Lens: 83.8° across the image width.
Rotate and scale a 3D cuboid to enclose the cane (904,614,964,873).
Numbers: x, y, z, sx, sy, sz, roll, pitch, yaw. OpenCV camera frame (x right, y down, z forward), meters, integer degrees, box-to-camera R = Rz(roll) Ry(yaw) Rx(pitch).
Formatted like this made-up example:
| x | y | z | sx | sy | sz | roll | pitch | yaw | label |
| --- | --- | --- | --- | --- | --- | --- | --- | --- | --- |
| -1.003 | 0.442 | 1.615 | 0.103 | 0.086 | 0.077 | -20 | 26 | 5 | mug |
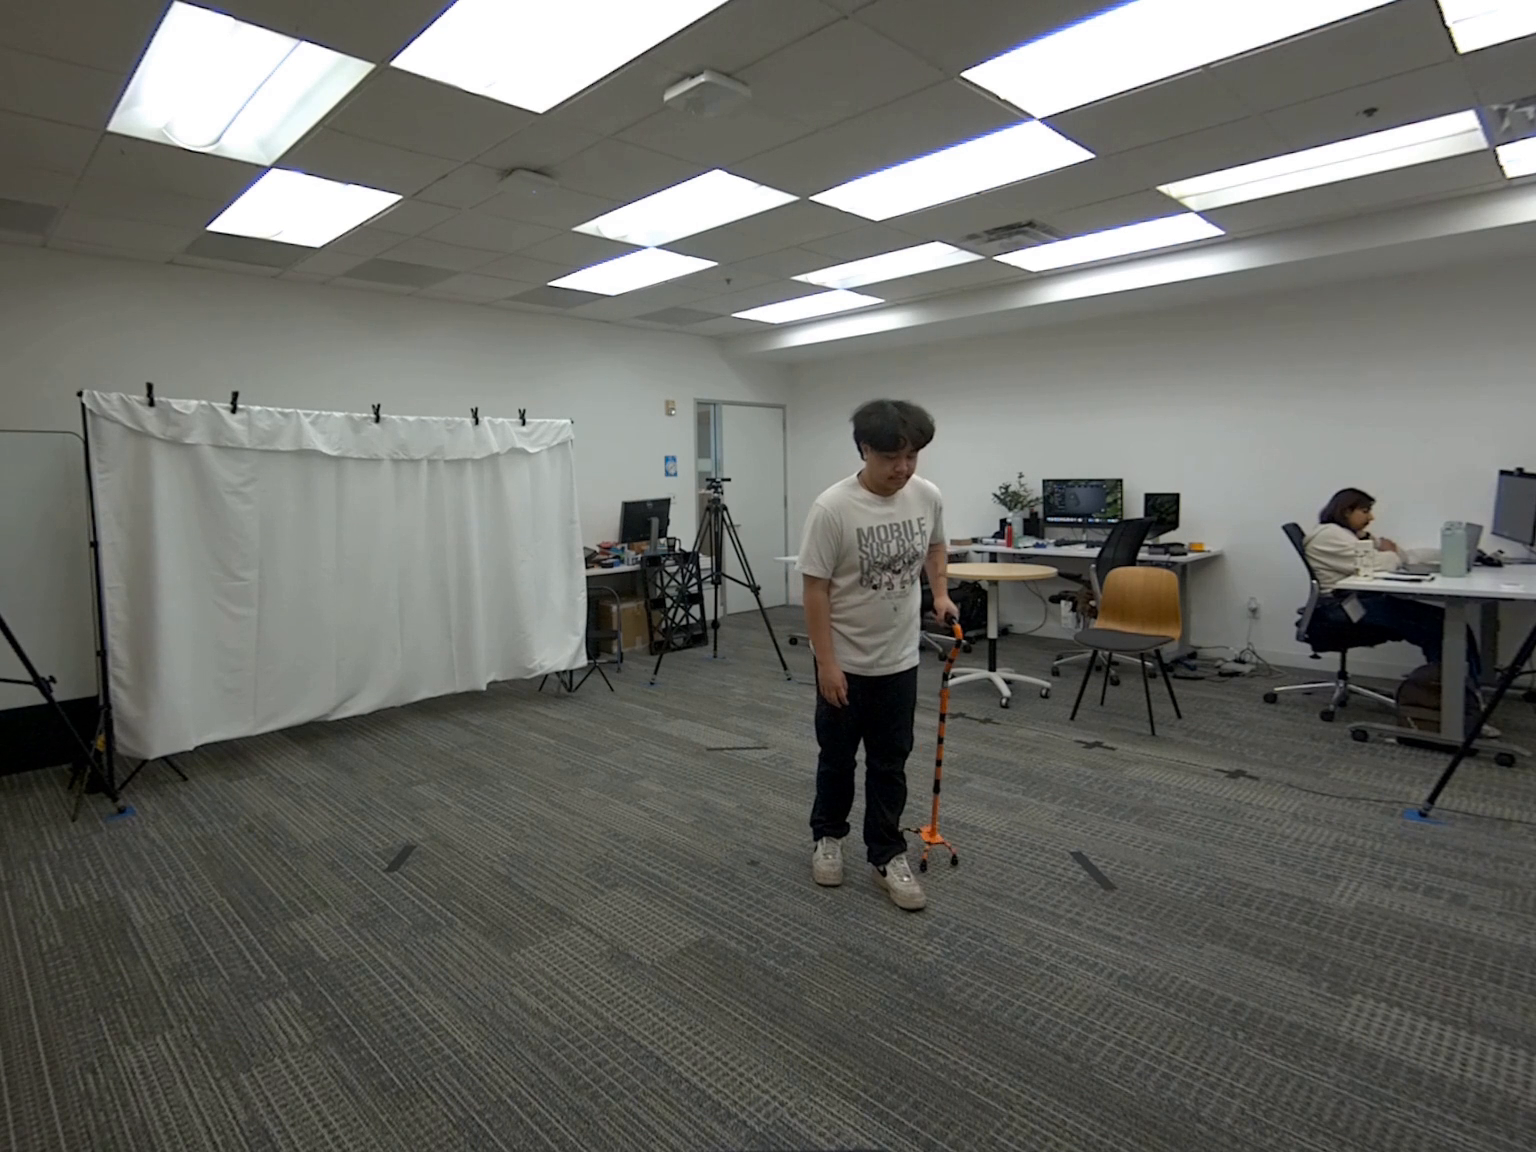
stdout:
| x | y | z | sx | sy | sz | roll | pitch | yaw | label |
| --- | --- | --- | --- | --- | --- | --- | --- | --- | --- |
| 0.594 | 0.566 | 2.982 | 0.149 | 0.897 | 0.213 | -4 | 15 | -22 | cane |
